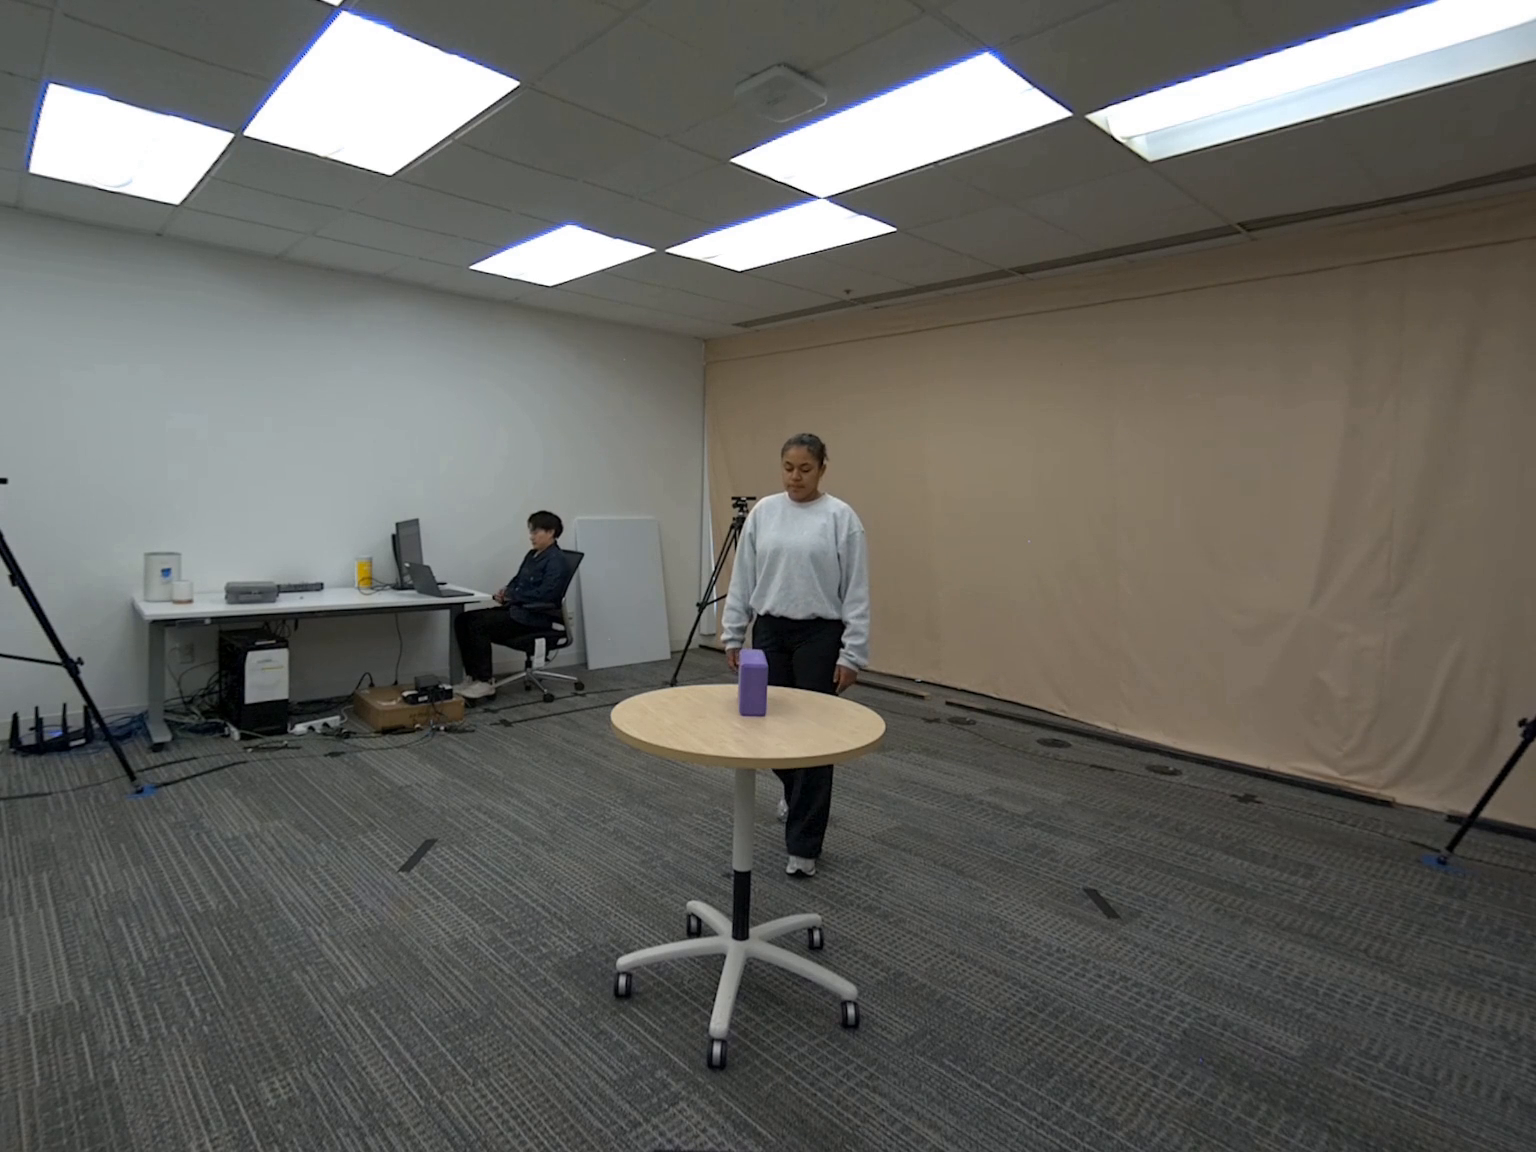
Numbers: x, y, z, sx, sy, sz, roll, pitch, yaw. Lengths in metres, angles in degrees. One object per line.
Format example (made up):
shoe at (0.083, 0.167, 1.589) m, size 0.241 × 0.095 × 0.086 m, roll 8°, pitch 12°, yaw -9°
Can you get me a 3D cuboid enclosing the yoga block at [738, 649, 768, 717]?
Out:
yoga block at (-0.052, 0.314, 2.464) m, size 0.076 × 0.148 × 0.229 m, roll 3°, pitch 5°, yaw 1°
